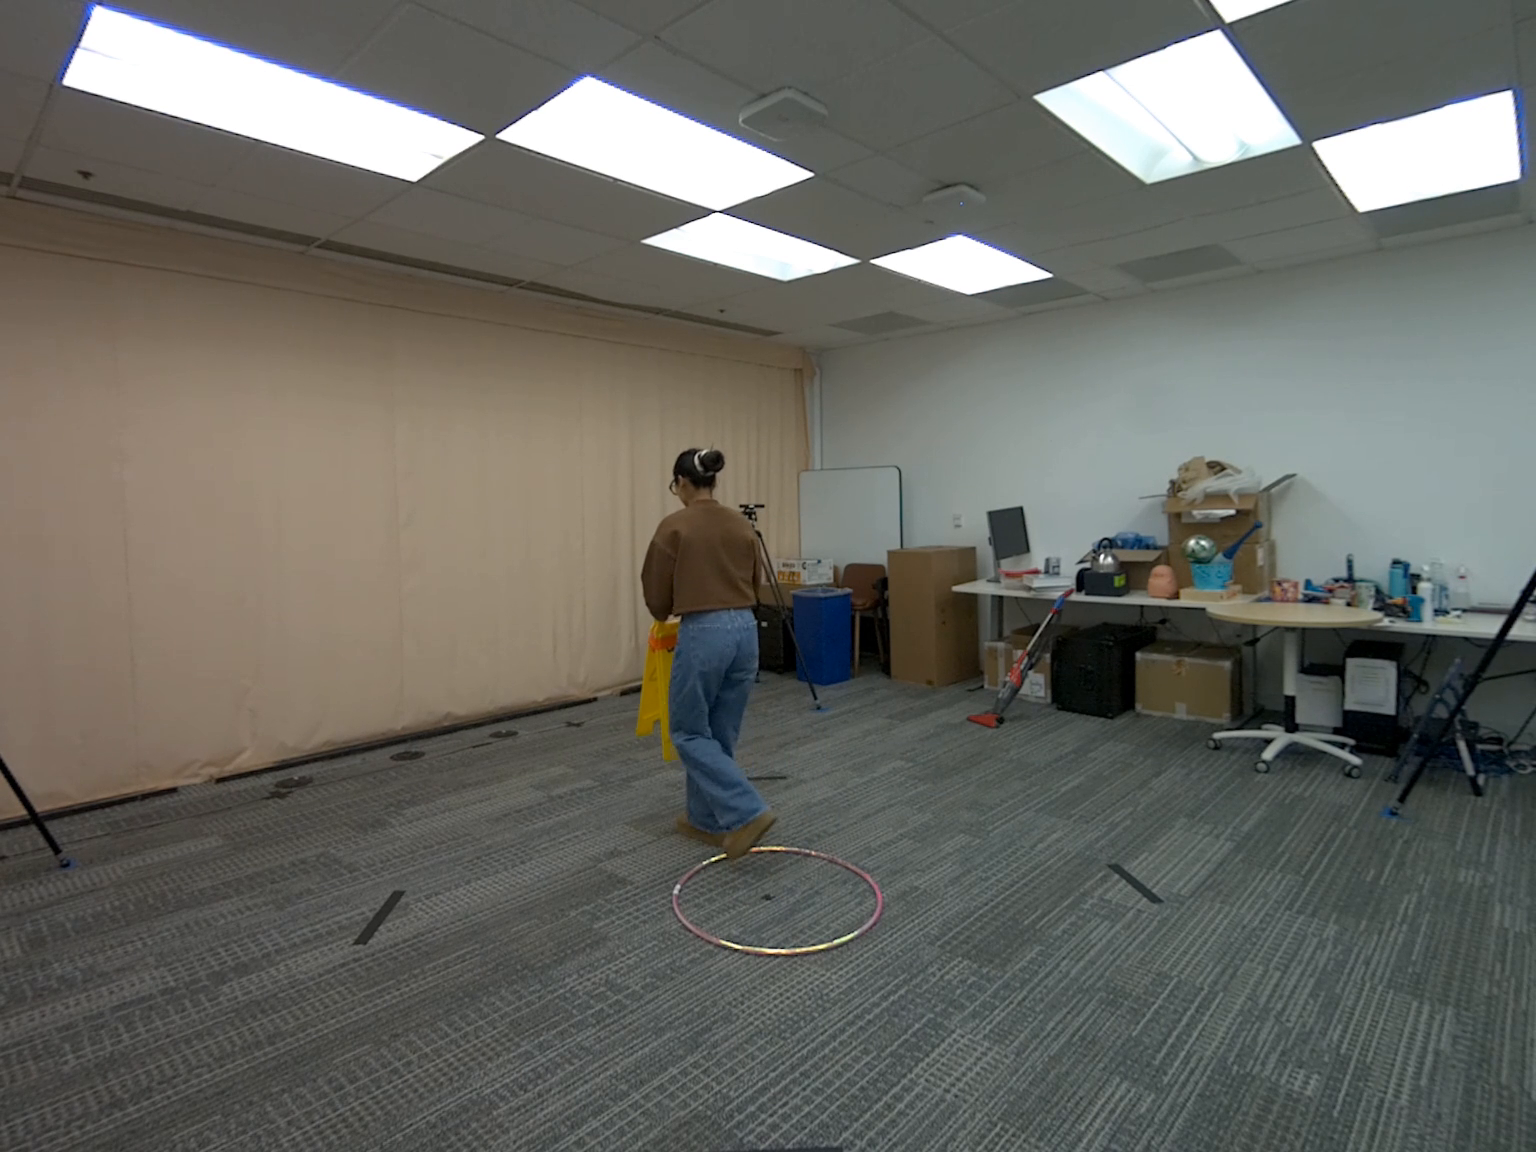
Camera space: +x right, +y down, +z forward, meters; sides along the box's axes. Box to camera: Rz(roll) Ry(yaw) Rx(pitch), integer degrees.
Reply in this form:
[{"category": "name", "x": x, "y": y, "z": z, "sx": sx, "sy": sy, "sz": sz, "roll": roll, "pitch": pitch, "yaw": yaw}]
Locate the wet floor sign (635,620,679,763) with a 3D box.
[{"category": "wet floor sign", "x": -0.400, "y": 0.453, "z": 3.681, "sx": 0.275, "sy": 0.640, "sz": 0.300, "roll": -9, "pitch": 18, "yaw": -32}]
